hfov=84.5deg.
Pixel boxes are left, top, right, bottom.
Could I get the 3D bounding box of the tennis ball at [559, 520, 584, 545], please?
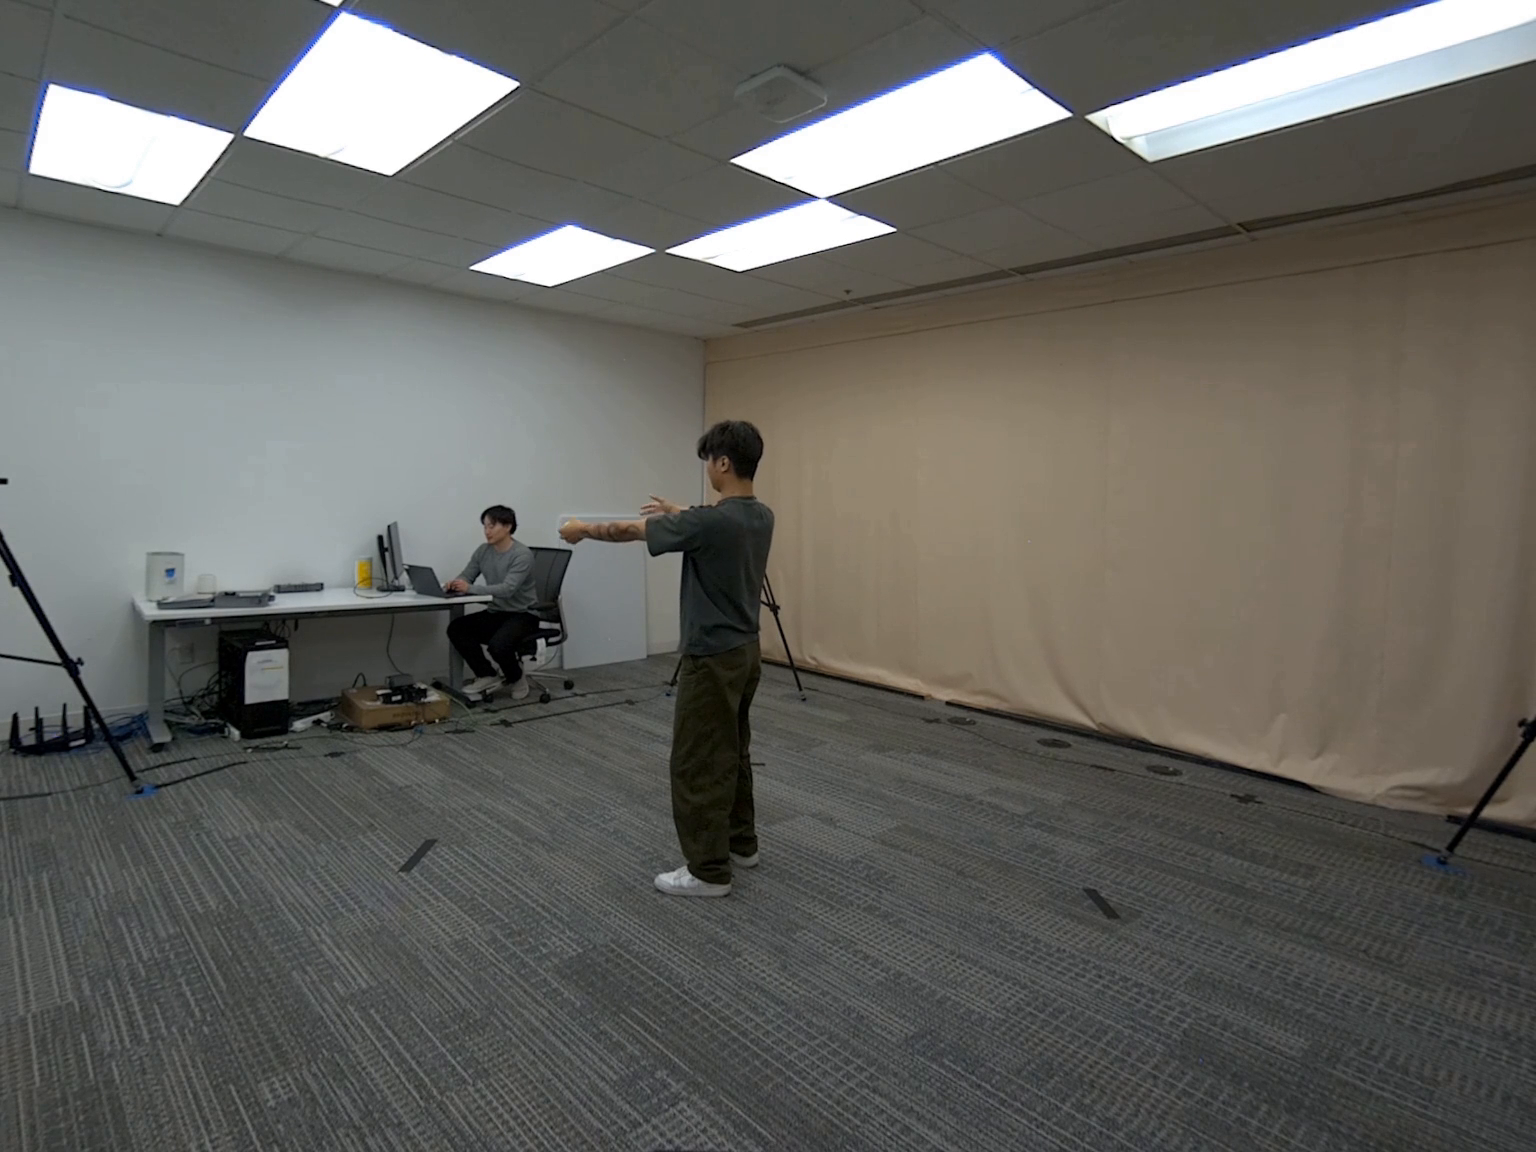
[{"bbox_3d":[-0.723,-0.165,3.157,0.066,0.066,0.067,1,4,-1],"label":"tennis ball"}]
